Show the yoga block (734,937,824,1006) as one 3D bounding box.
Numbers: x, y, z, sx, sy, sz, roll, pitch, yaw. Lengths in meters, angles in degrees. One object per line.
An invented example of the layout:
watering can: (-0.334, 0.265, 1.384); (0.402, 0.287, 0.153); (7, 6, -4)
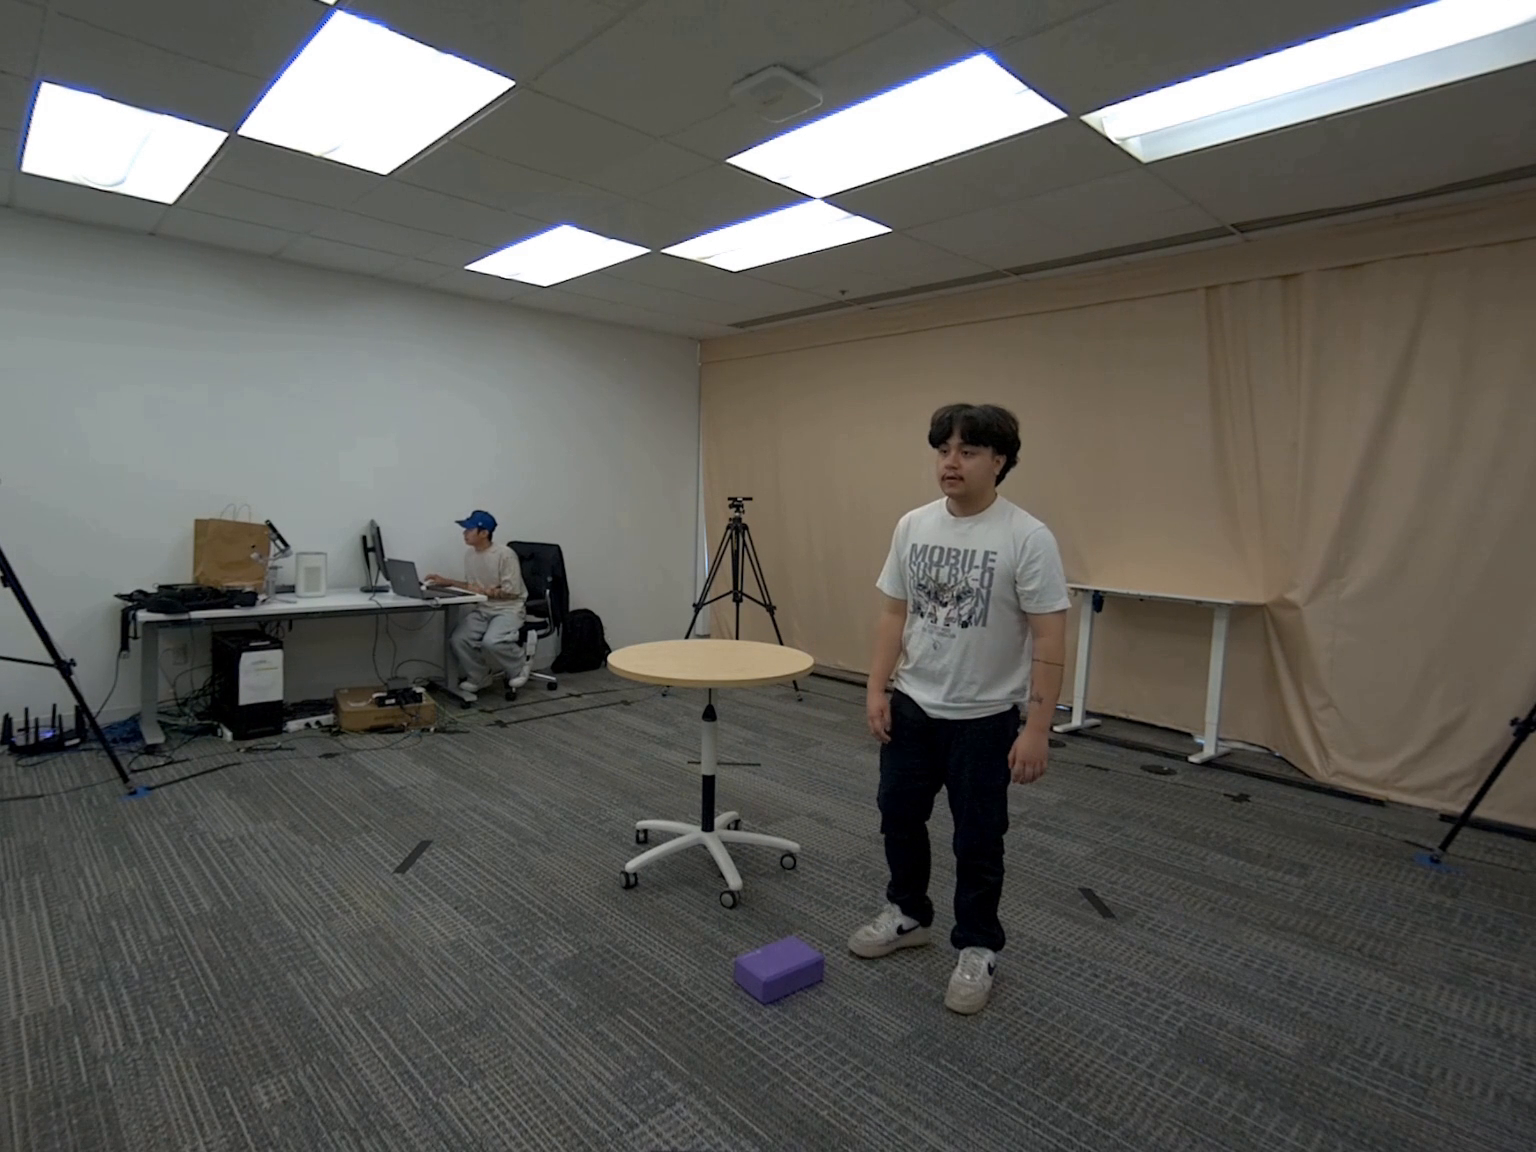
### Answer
yoga block: (0.030, 1.131, 2.436); (0.224, 0.076, 0.153); (-4, 7, -39)
